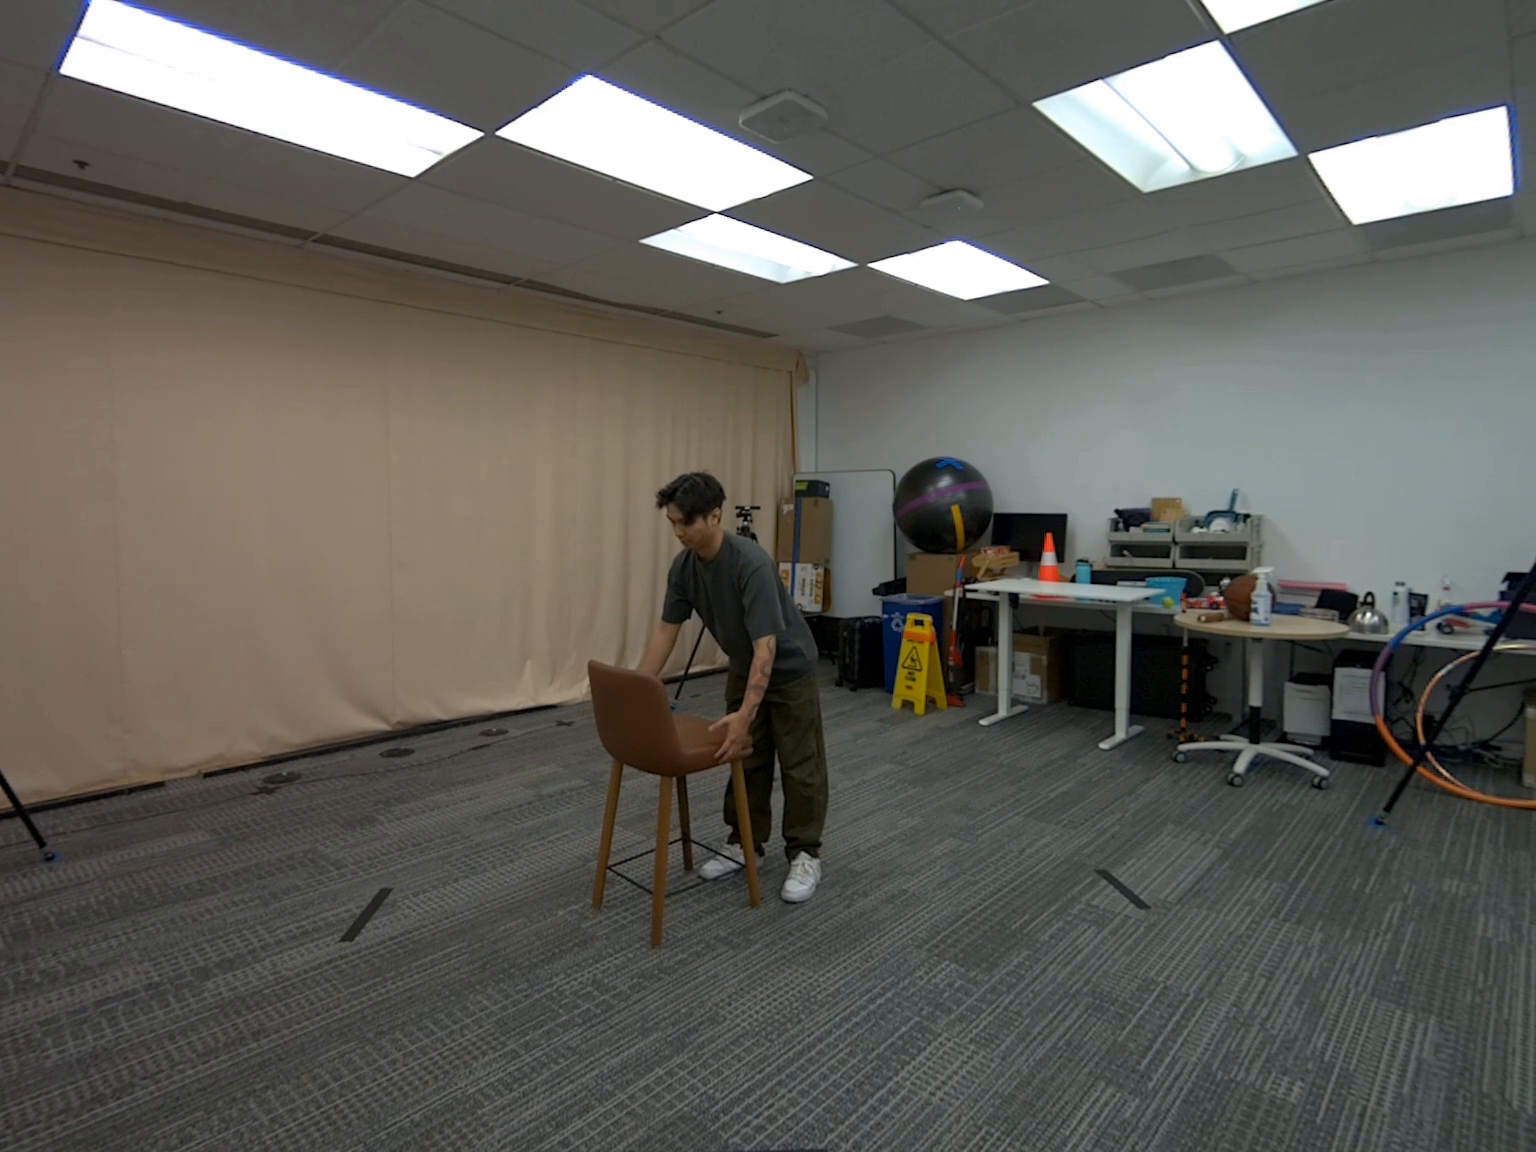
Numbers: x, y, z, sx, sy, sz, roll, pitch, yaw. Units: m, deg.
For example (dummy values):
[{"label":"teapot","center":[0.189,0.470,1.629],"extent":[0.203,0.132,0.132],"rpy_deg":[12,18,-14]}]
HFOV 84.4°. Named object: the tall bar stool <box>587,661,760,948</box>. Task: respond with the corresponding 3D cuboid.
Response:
[{"label":"tall bar stool","center":[-0.329,0.713,2.908],"extent":[0.454,0.887,0.472],"rpy_deg":[-6,6,-42]}]
